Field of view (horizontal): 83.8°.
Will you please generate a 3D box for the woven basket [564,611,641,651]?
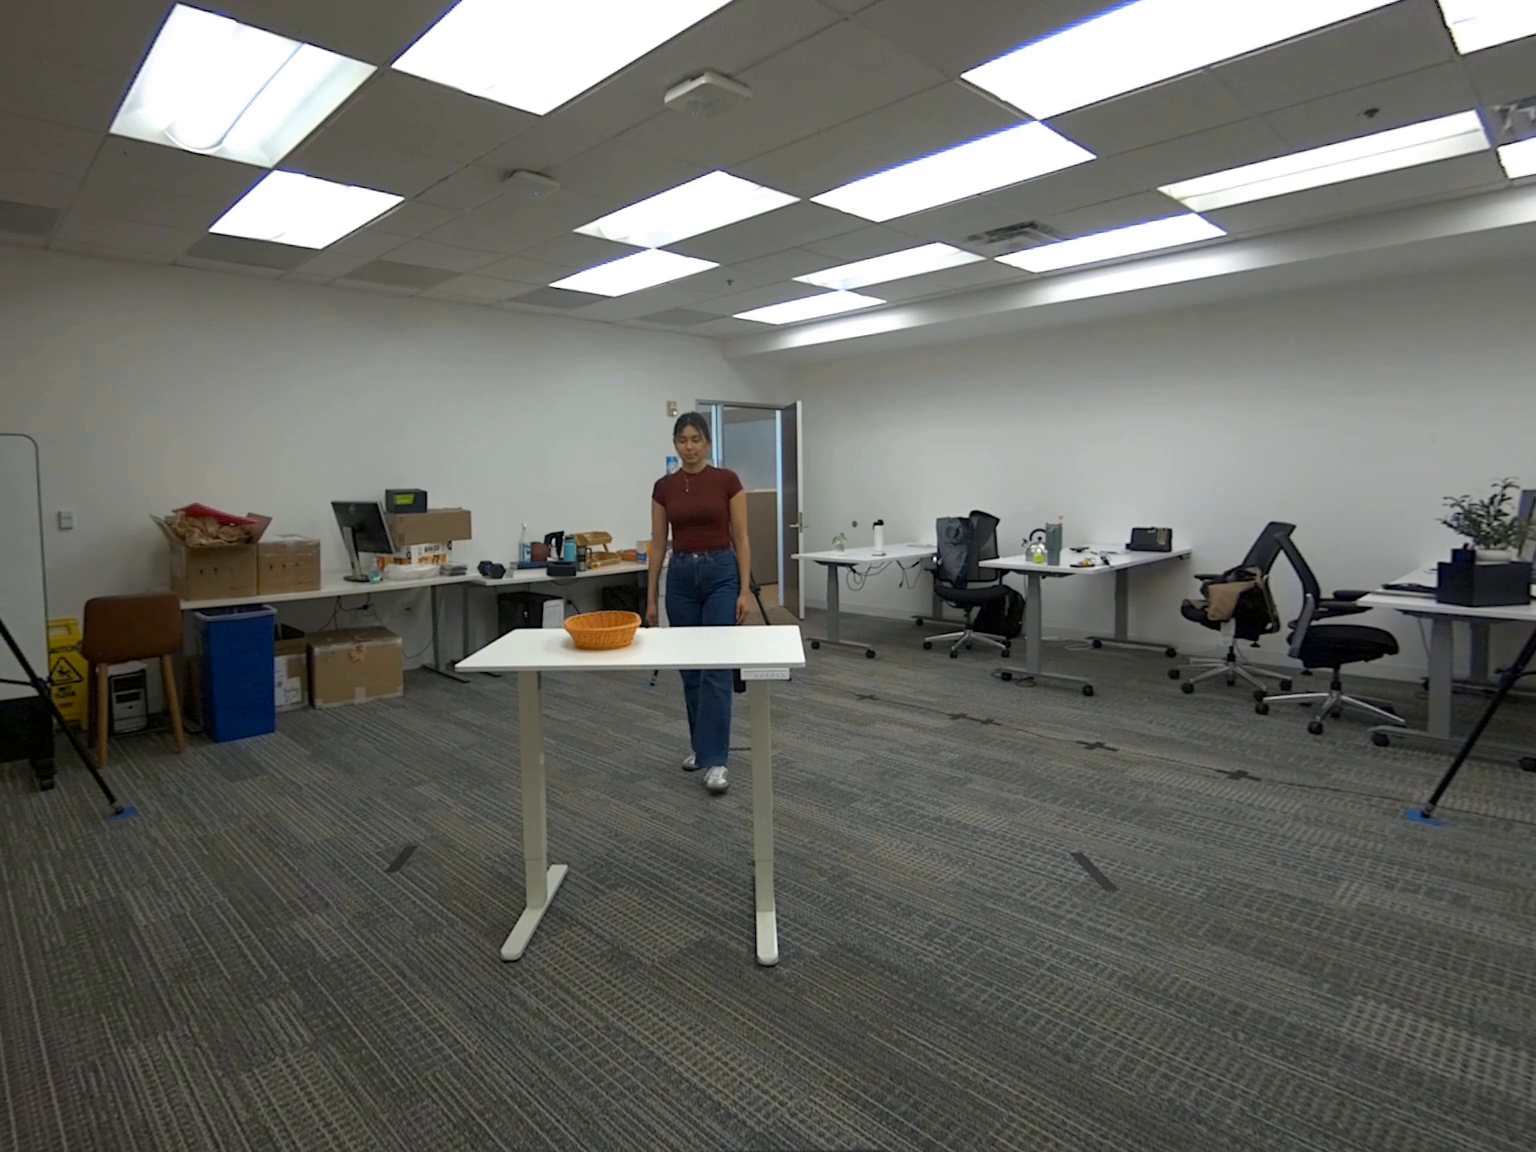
[{"bbox_3d":[-0.542,0.183,2.758,0.251,0.073,0.353,-3,6,-5],"label":"woven basket"}]
